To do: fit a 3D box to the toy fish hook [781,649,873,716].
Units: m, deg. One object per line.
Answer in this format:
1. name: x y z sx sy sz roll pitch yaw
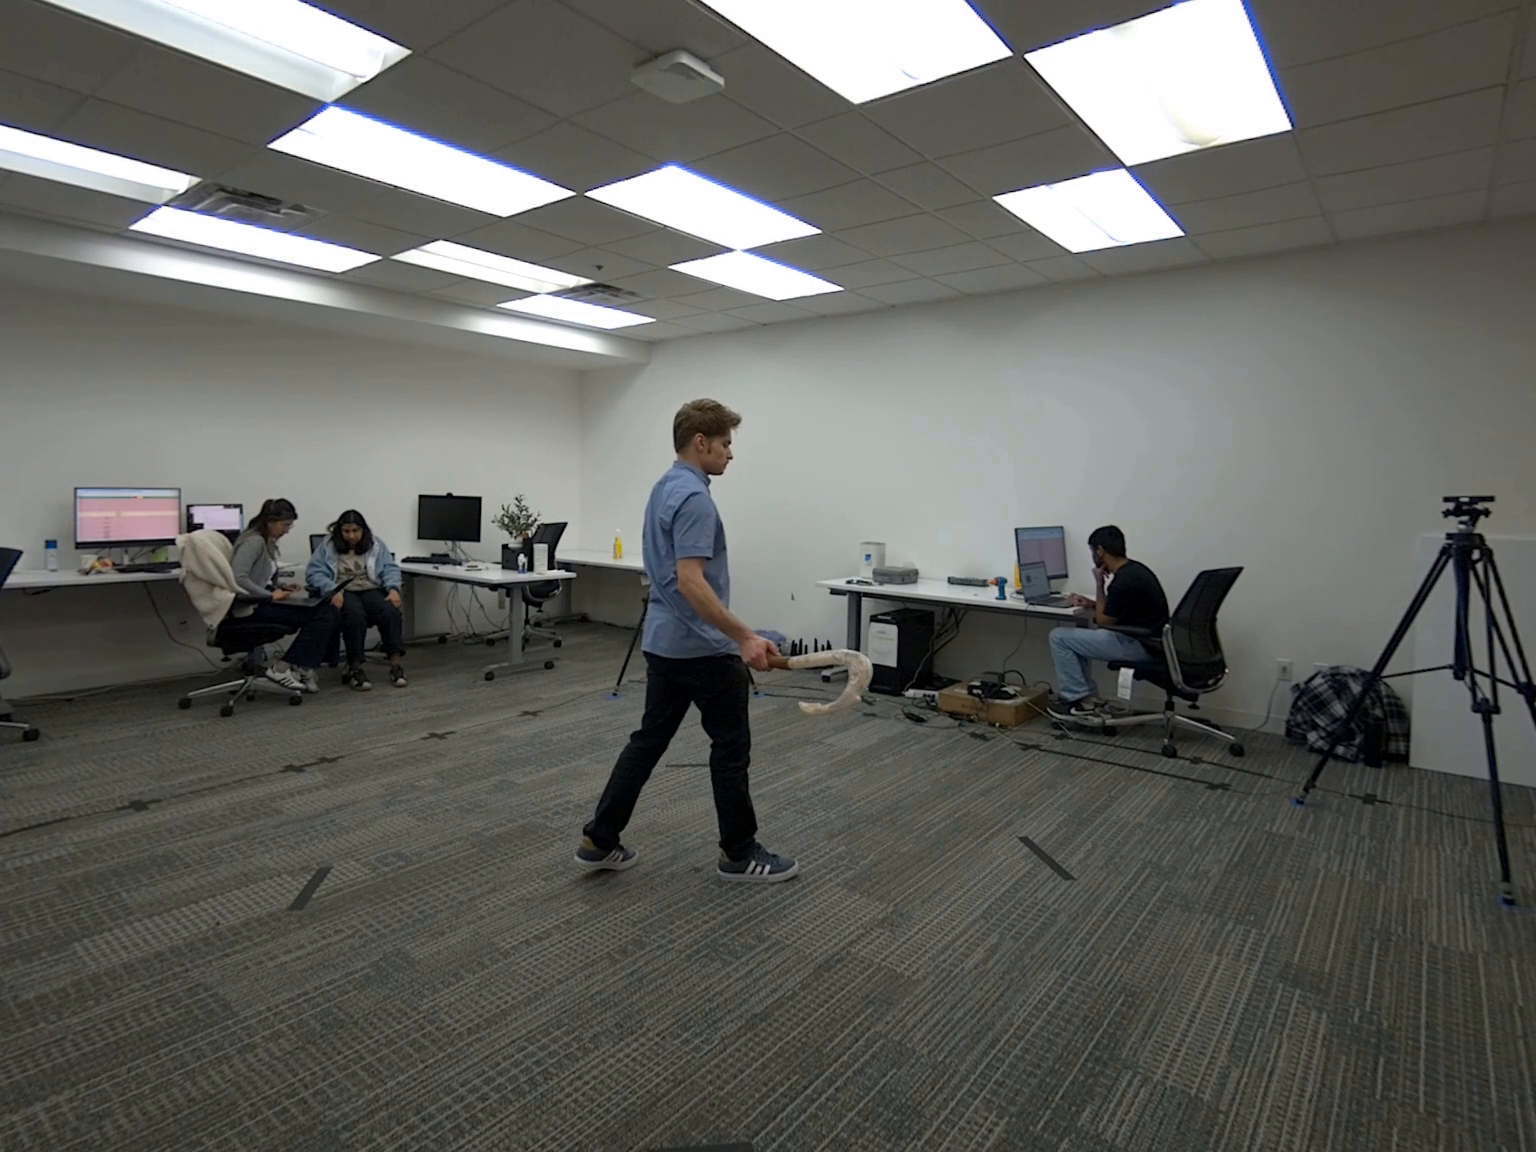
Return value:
1. toy fish hook: 0.092 0.295 2.533 0.522 0.226 0.046 -1 -44 46
